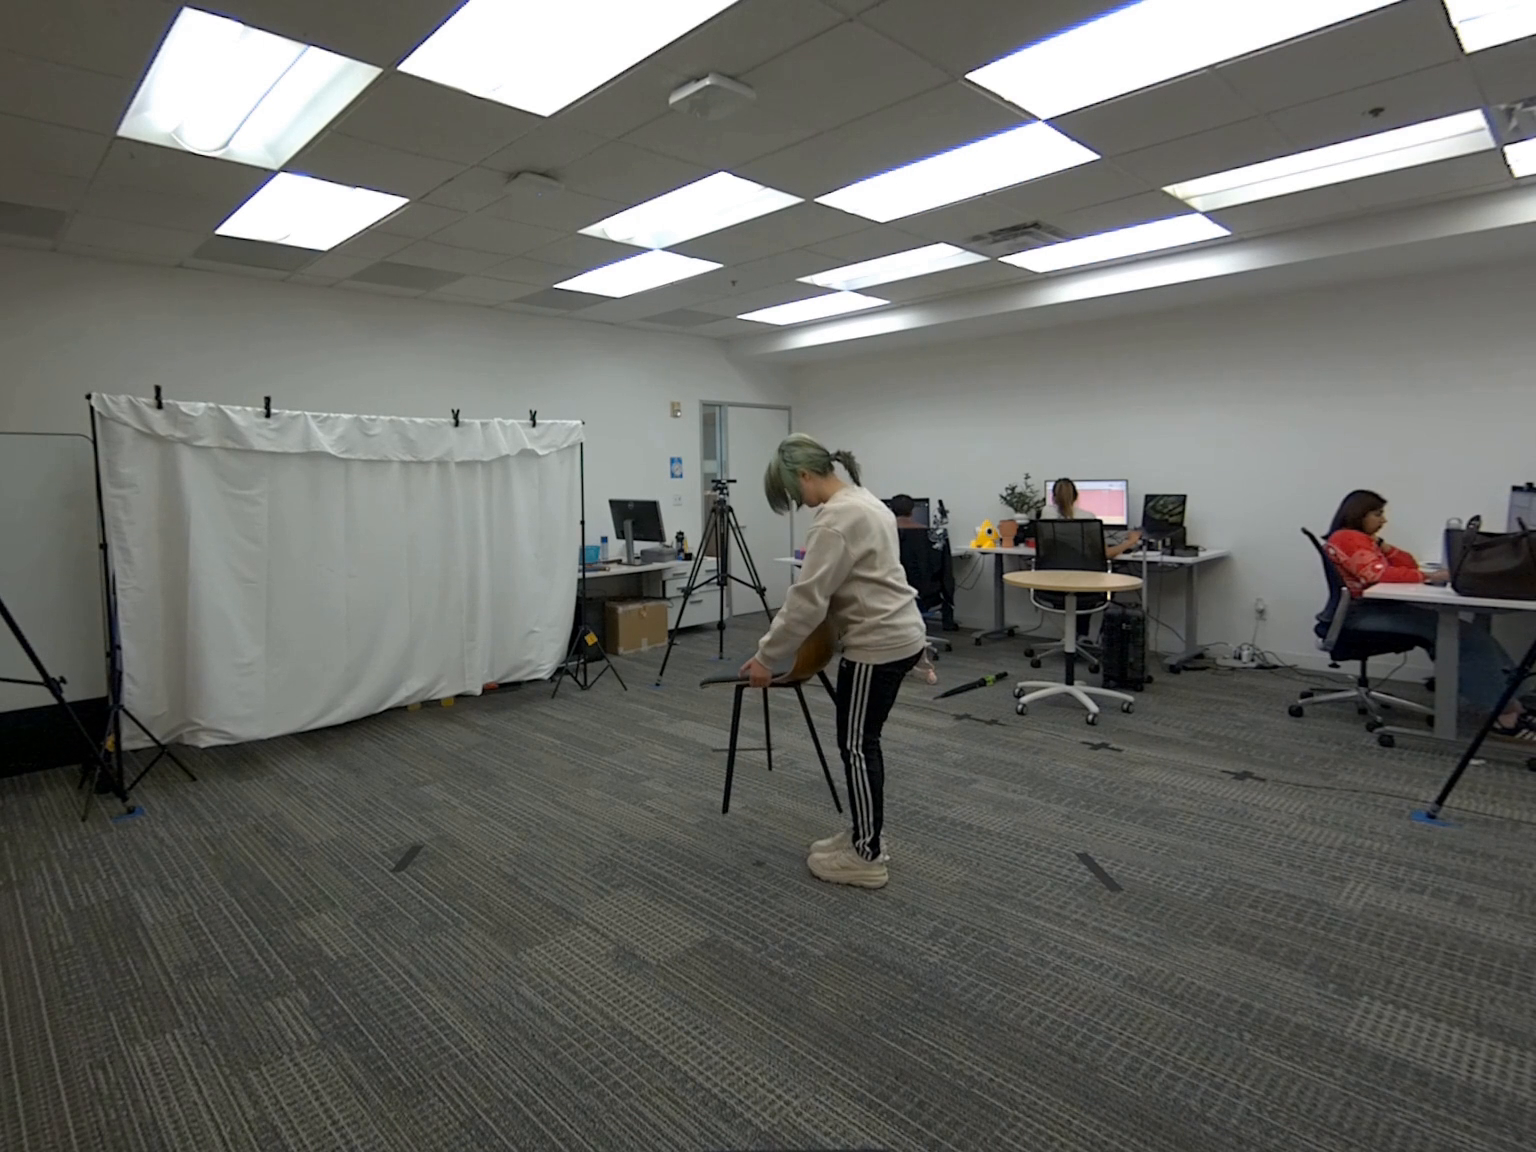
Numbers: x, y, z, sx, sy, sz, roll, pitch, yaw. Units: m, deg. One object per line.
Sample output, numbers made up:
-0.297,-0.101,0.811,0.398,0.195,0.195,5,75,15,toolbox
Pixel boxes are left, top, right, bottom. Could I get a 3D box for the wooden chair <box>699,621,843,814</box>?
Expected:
0.042,0.380,3.156,0.534,0.873,0.471,-4,5,24,wooden chair
